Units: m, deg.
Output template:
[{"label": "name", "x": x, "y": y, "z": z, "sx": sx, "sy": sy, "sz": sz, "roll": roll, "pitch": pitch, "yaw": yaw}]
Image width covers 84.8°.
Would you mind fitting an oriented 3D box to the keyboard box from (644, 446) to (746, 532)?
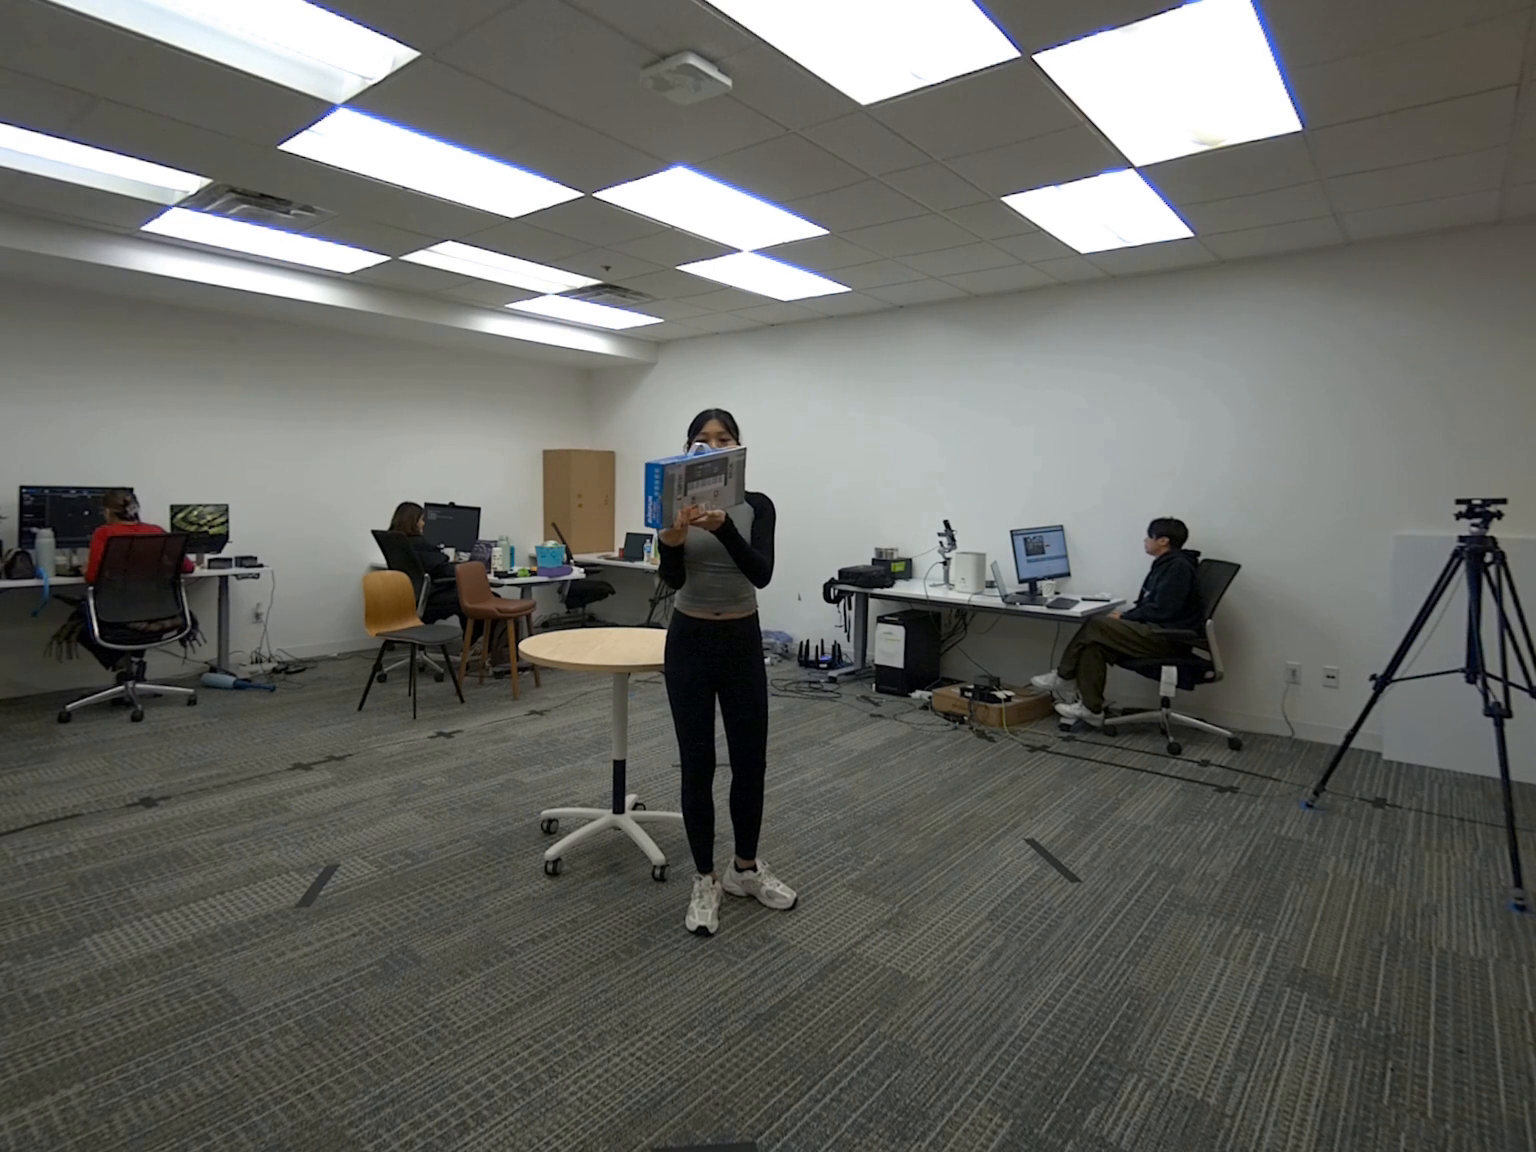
[{"label": "keyboard box", "x": -0.206, "y": -0.259, "z": 2.377, "sx": 0.061, "sy": 0.173, "sz": 0.430, "roll": 10, "pitch": 18, "yaw": 26}]
